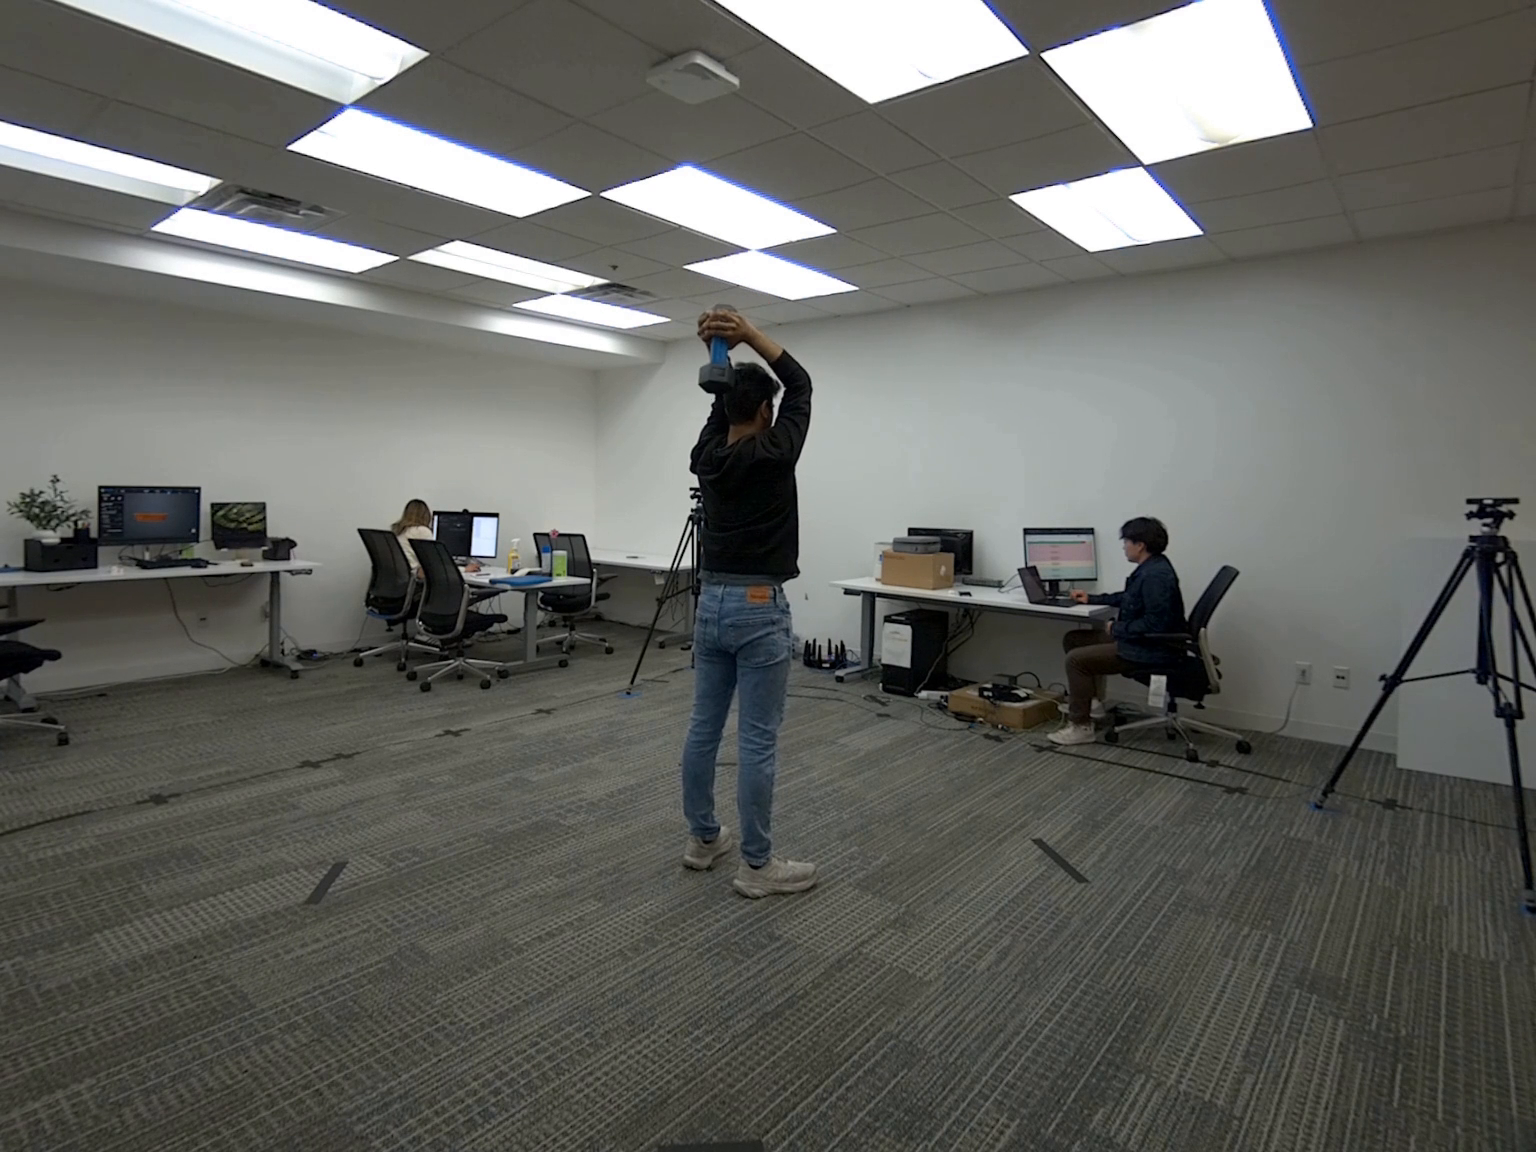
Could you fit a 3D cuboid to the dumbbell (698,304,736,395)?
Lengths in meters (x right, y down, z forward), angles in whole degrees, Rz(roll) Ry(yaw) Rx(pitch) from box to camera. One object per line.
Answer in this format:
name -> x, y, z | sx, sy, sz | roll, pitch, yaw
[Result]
dumbbell -> -0.172, -0.768, 2.886 | 0.105, 0.297, 0.125 | 14, -18, -35
